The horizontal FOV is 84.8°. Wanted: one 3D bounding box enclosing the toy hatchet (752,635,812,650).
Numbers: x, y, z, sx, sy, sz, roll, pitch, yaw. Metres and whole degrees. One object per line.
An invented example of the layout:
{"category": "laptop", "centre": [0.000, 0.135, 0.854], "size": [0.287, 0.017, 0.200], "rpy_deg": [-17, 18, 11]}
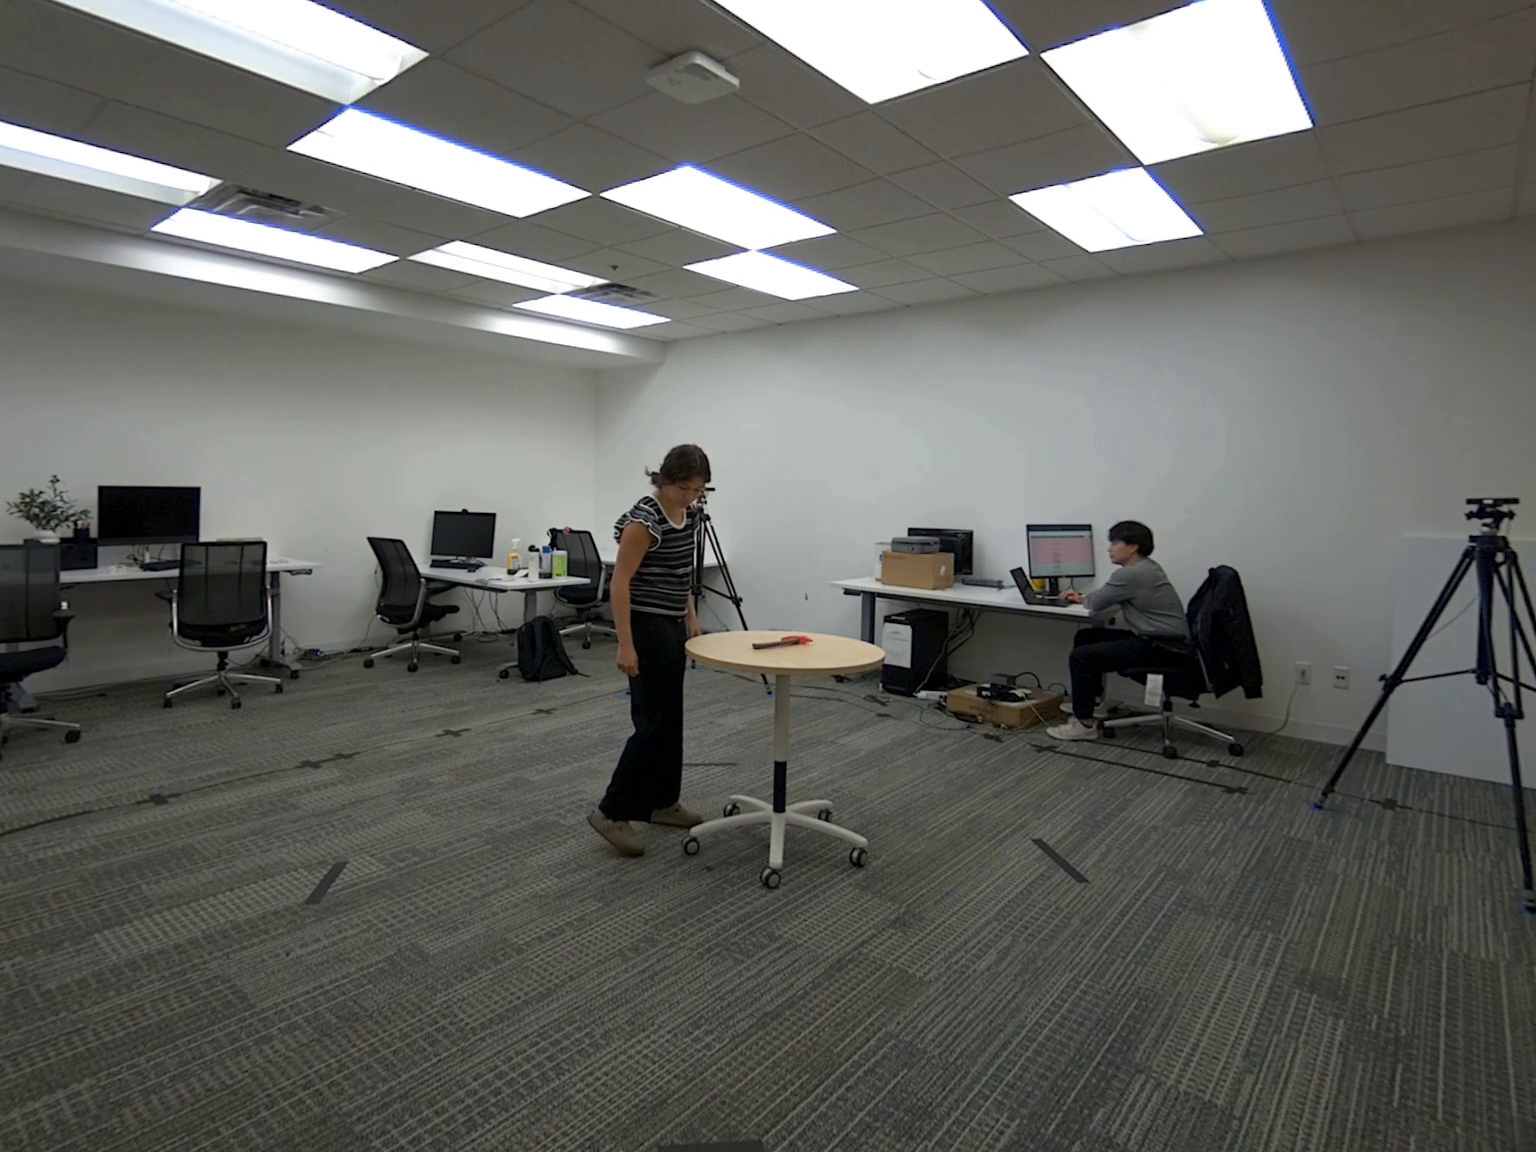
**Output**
{"category": "toy hatchet", "centre": [0.030, 0.253, 3.333], "size": [0.263, 0.029, 0.135], "rpy_deg": [-3, 7, -29]}
